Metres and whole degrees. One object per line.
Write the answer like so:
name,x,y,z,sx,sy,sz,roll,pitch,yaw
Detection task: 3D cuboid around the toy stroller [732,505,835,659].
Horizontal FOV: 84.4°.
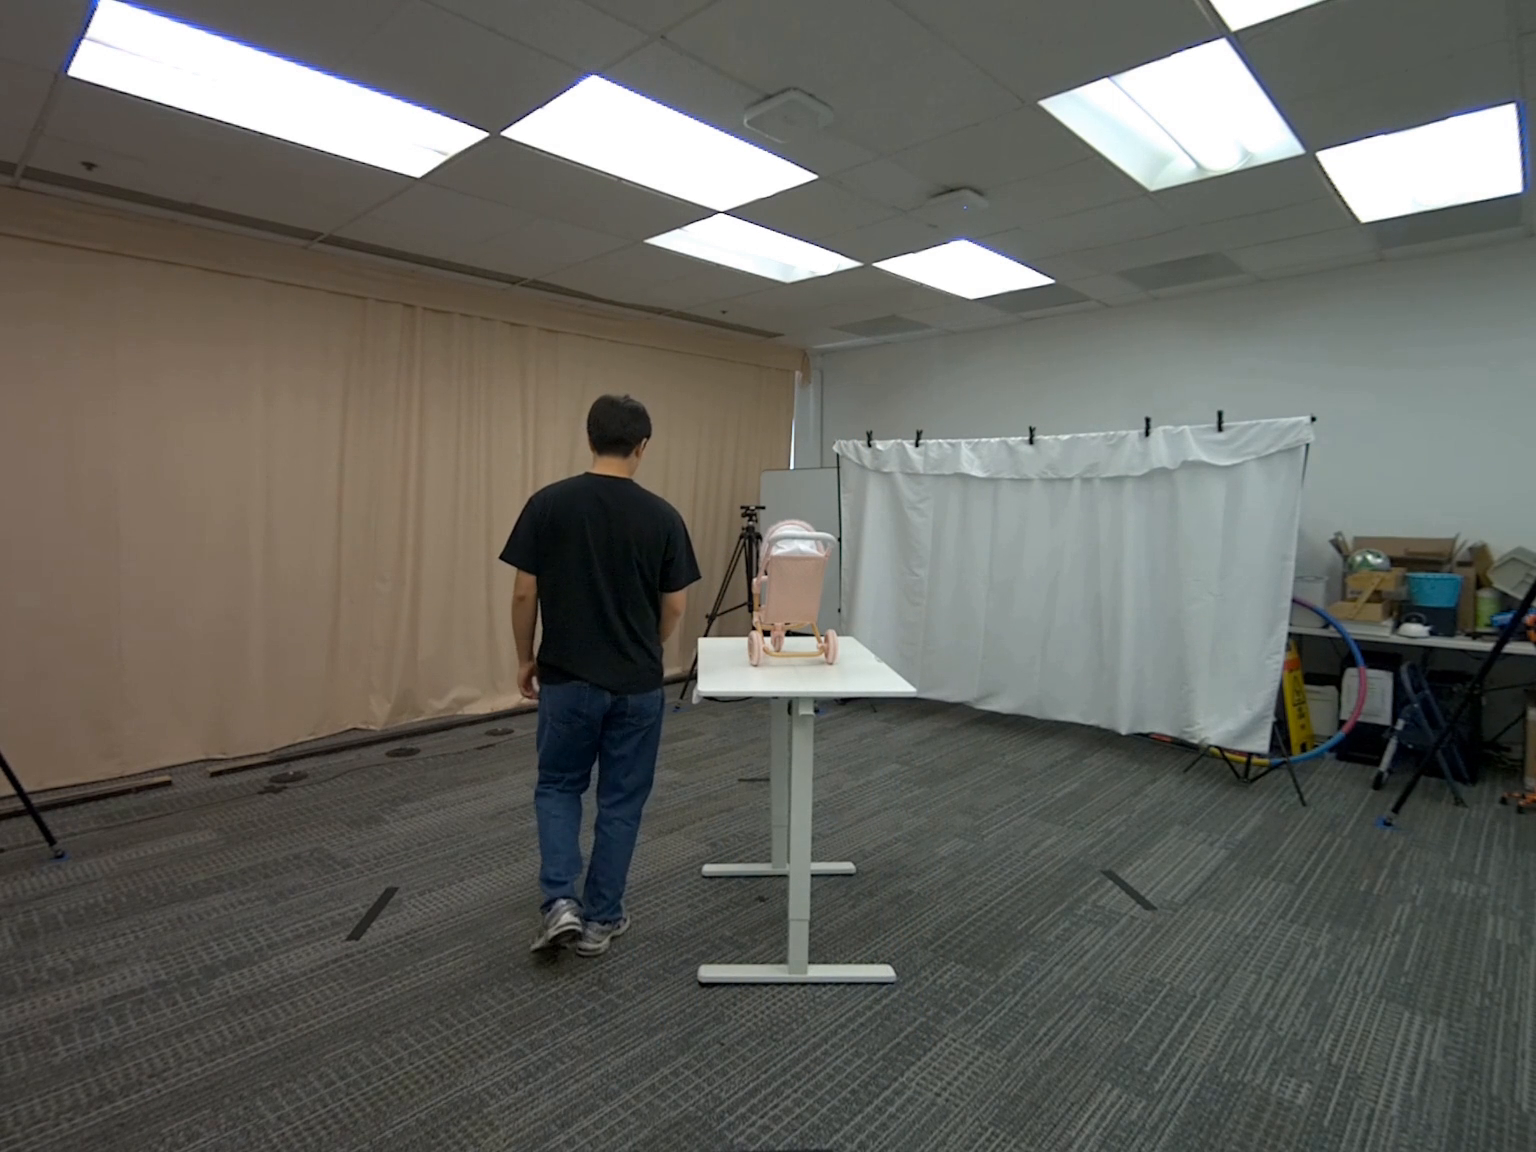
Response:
toy stroller,0.079,0.058,2.743,0.280,0.529,0.347,1,18,-7
